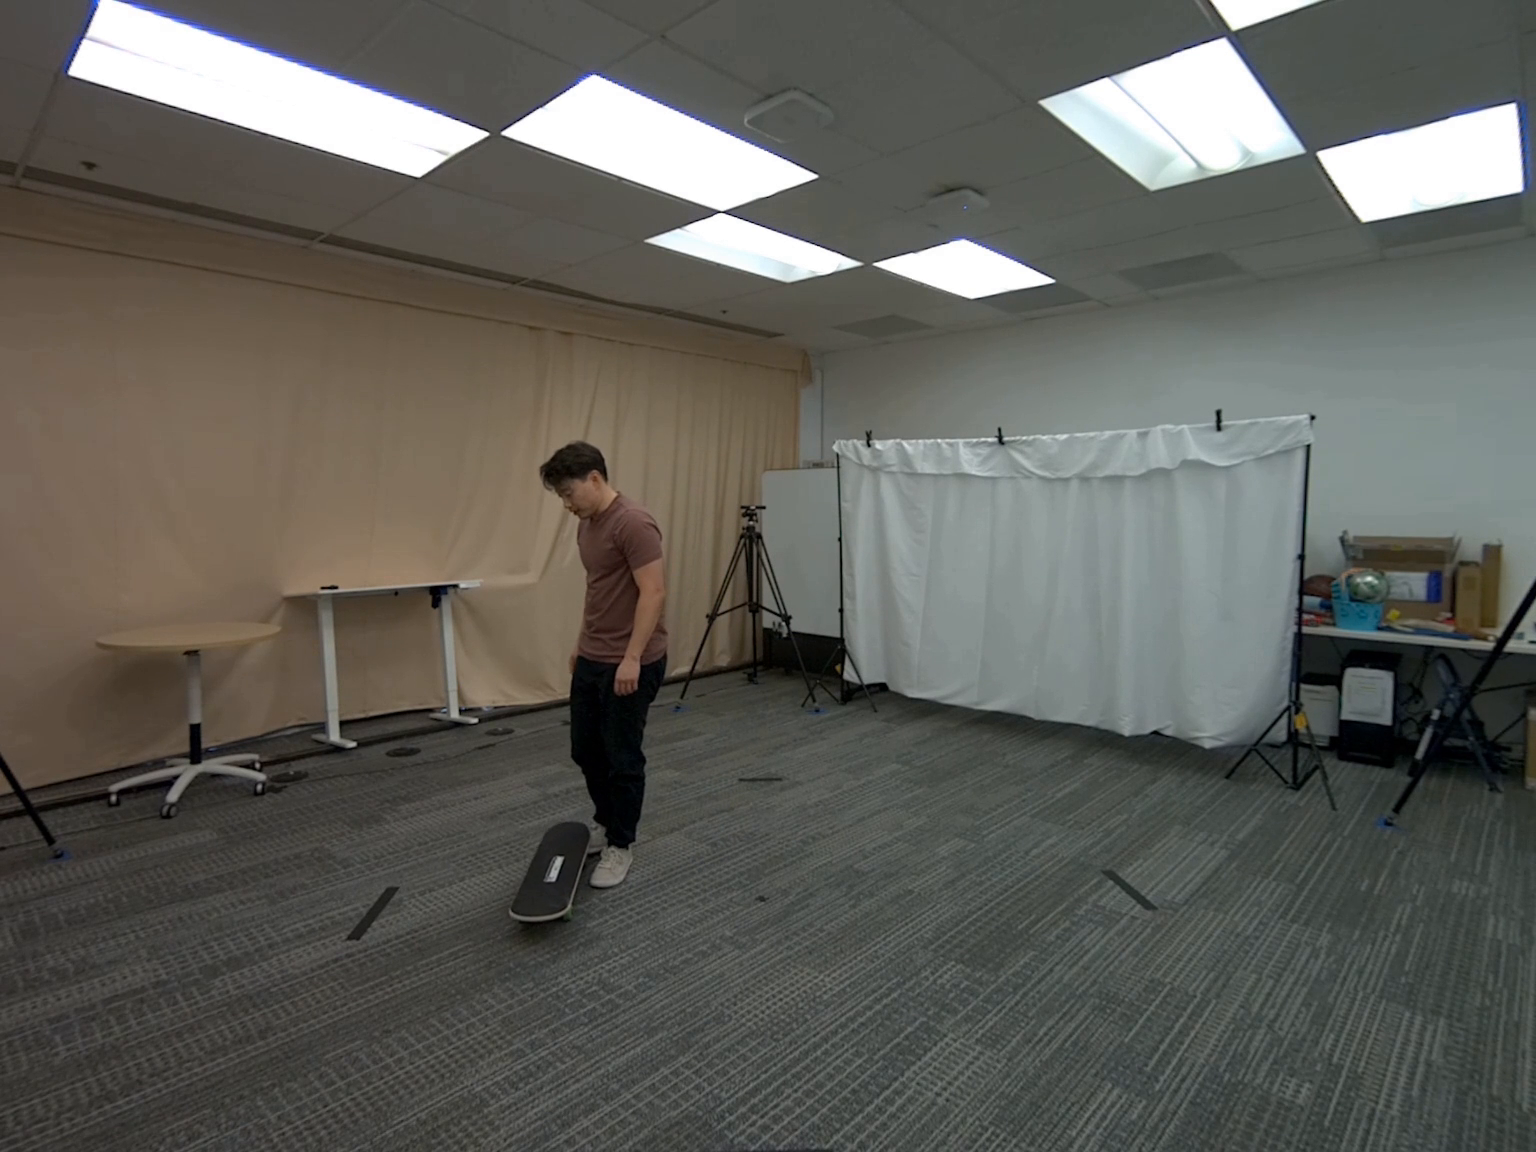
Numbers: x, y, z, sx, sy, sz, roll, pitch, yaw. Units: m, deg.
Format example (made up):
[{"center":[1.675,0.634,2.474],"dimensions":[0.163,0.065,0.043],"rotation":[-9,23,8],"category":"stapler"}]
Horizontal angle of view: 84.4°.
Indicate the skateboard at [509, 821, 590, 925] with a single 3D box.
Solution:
[{"center":[-0.768,1.084,3.027],"dimensions":[0.193,0.110,0.790],"rotation":[-1,5,-4],"category":"skateboard"}]
